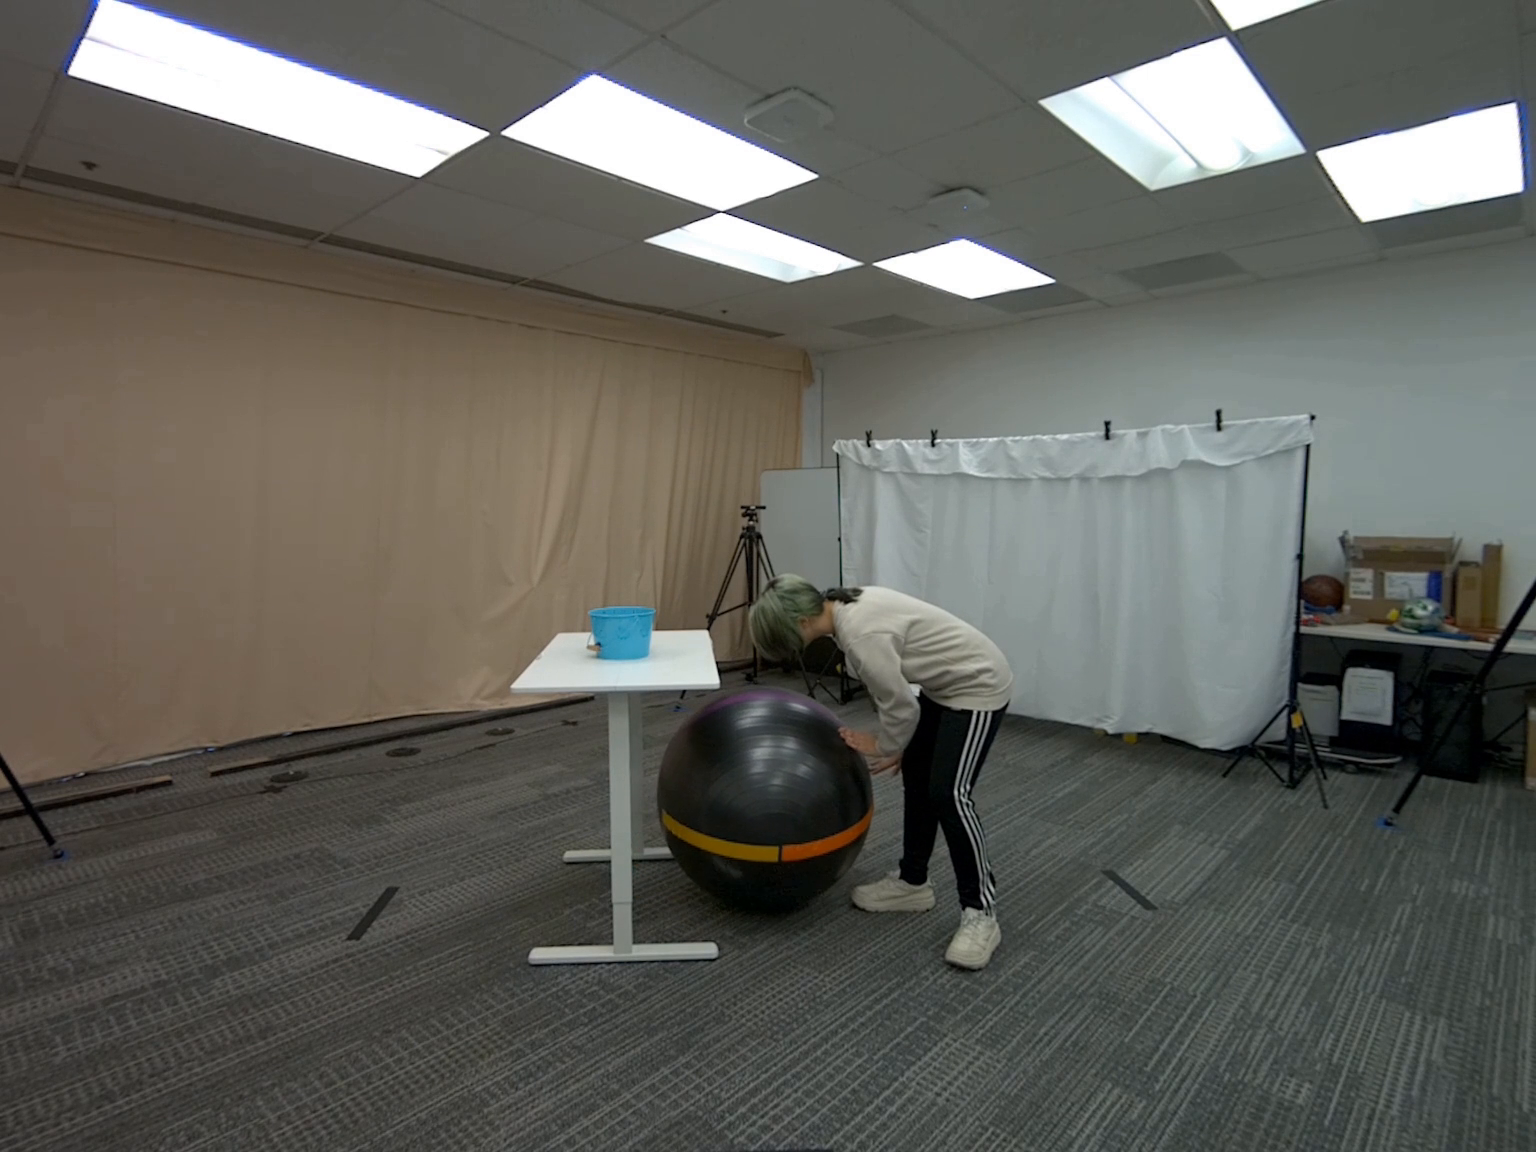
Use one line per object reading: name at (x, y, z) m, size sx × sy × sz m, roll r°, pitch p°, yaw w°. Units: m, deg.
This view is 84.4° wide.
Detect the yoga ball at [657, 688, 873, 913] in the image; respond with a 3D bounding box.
yoga ball at (-0.016, 0.776, 2.976) m, size 0.757 × 0.756 × 0.760 m, roll 0°, pitch 4°, yaw -2°
